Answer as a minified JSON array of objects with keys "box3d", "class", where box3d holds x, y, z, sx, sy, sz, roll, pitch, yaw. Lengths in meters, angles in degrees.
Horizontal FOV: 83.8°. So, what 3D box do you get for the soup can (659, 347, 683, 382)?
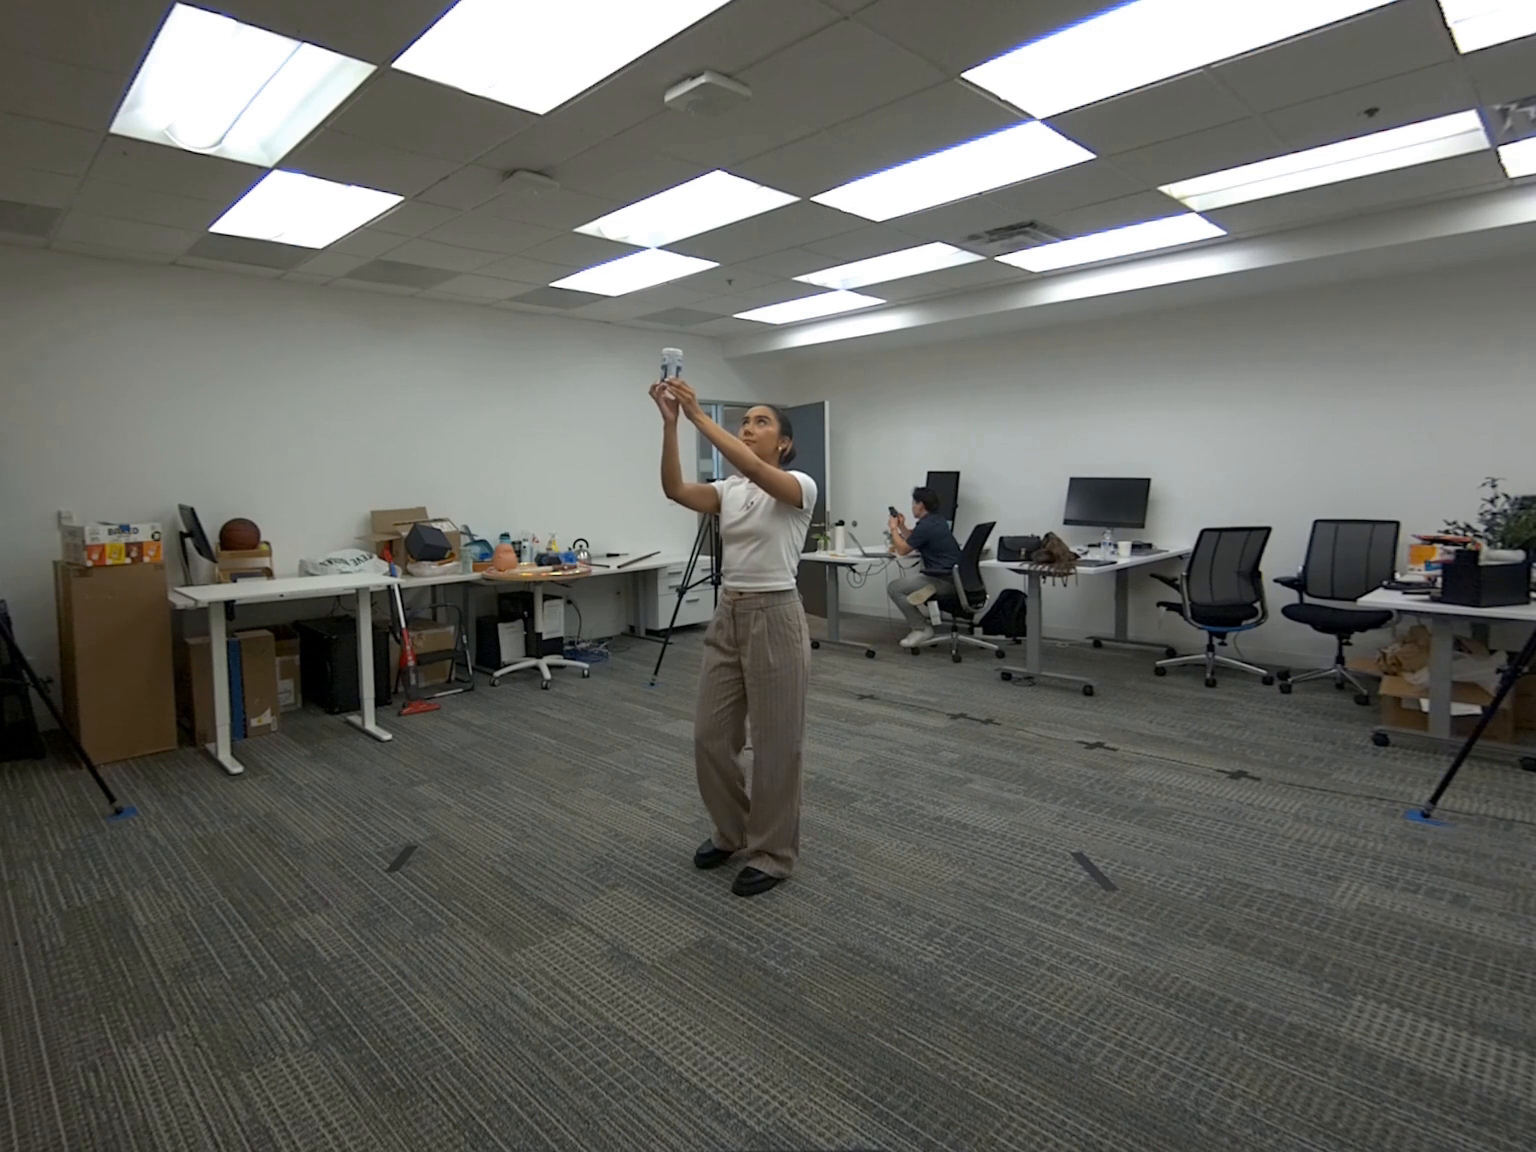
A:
[{"box3d":[-0.306,-0.658,2.701,0.067,0.121,0.067,1,0,-2],"class":"soup can"}]
